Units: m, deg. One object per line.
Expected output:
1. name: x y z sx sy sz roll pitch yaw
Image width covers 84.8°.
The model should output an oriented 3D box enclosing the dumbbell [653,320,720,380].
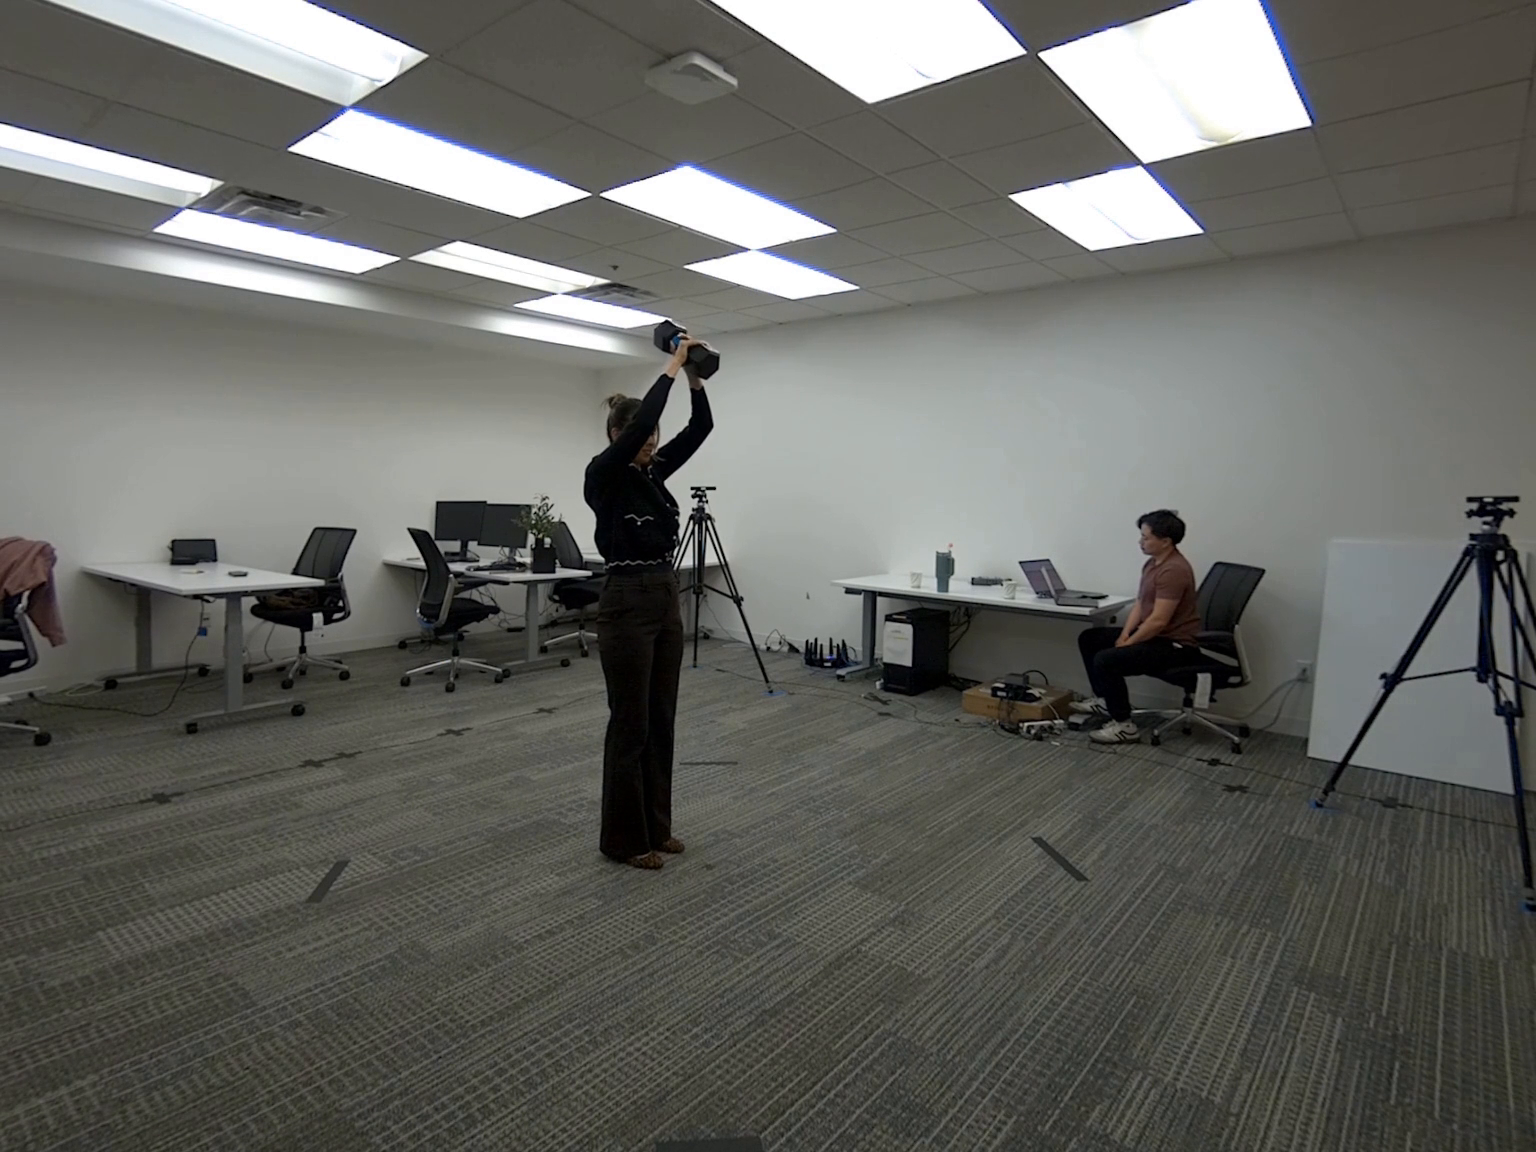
1. dumbbell: -0.308 -0.823 3.078 0.107 0.120 0.306 -22 48 -31
